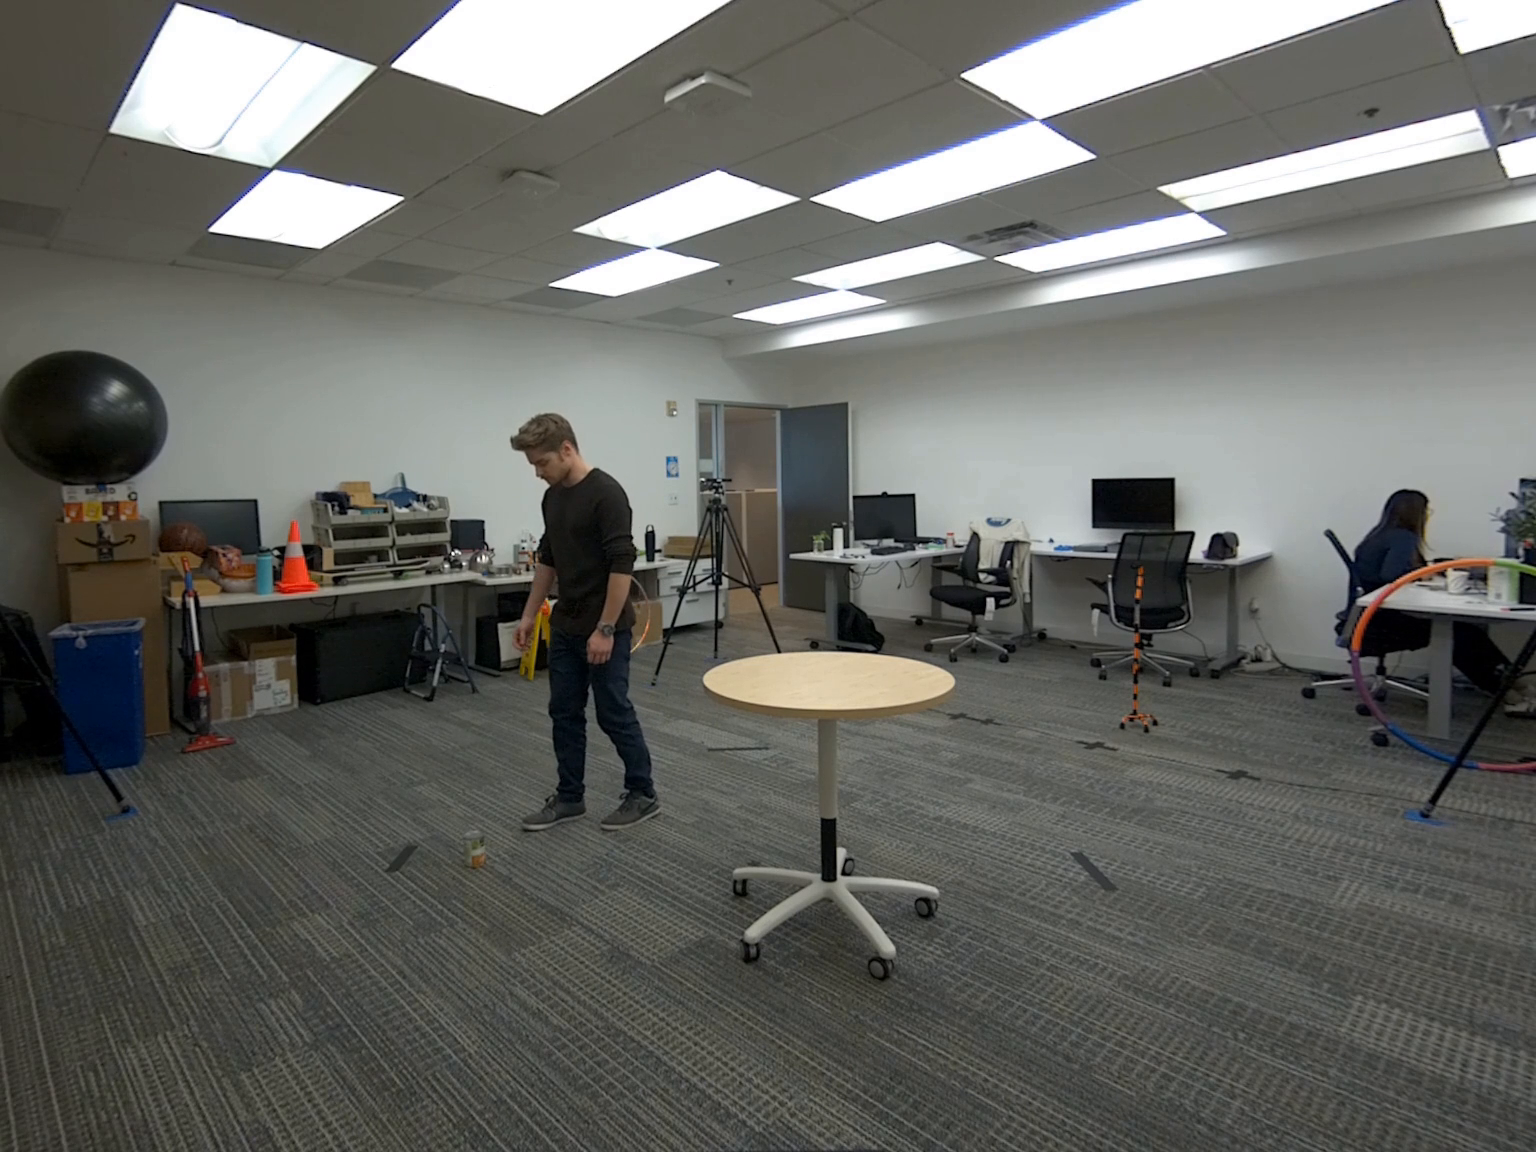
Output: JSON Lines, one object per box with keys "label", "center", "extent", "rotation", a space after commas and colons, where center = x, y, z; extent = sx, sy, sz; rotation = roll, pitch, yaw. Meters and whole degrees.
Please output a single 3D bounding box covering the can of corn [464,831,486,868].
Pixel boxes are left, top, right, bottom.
{"label": "can of corn", "center": [-1.084, 1.009, 3.150], "extent": [0.074, 0.111, 0.074], "rotation": [-8, 4, -1]}
